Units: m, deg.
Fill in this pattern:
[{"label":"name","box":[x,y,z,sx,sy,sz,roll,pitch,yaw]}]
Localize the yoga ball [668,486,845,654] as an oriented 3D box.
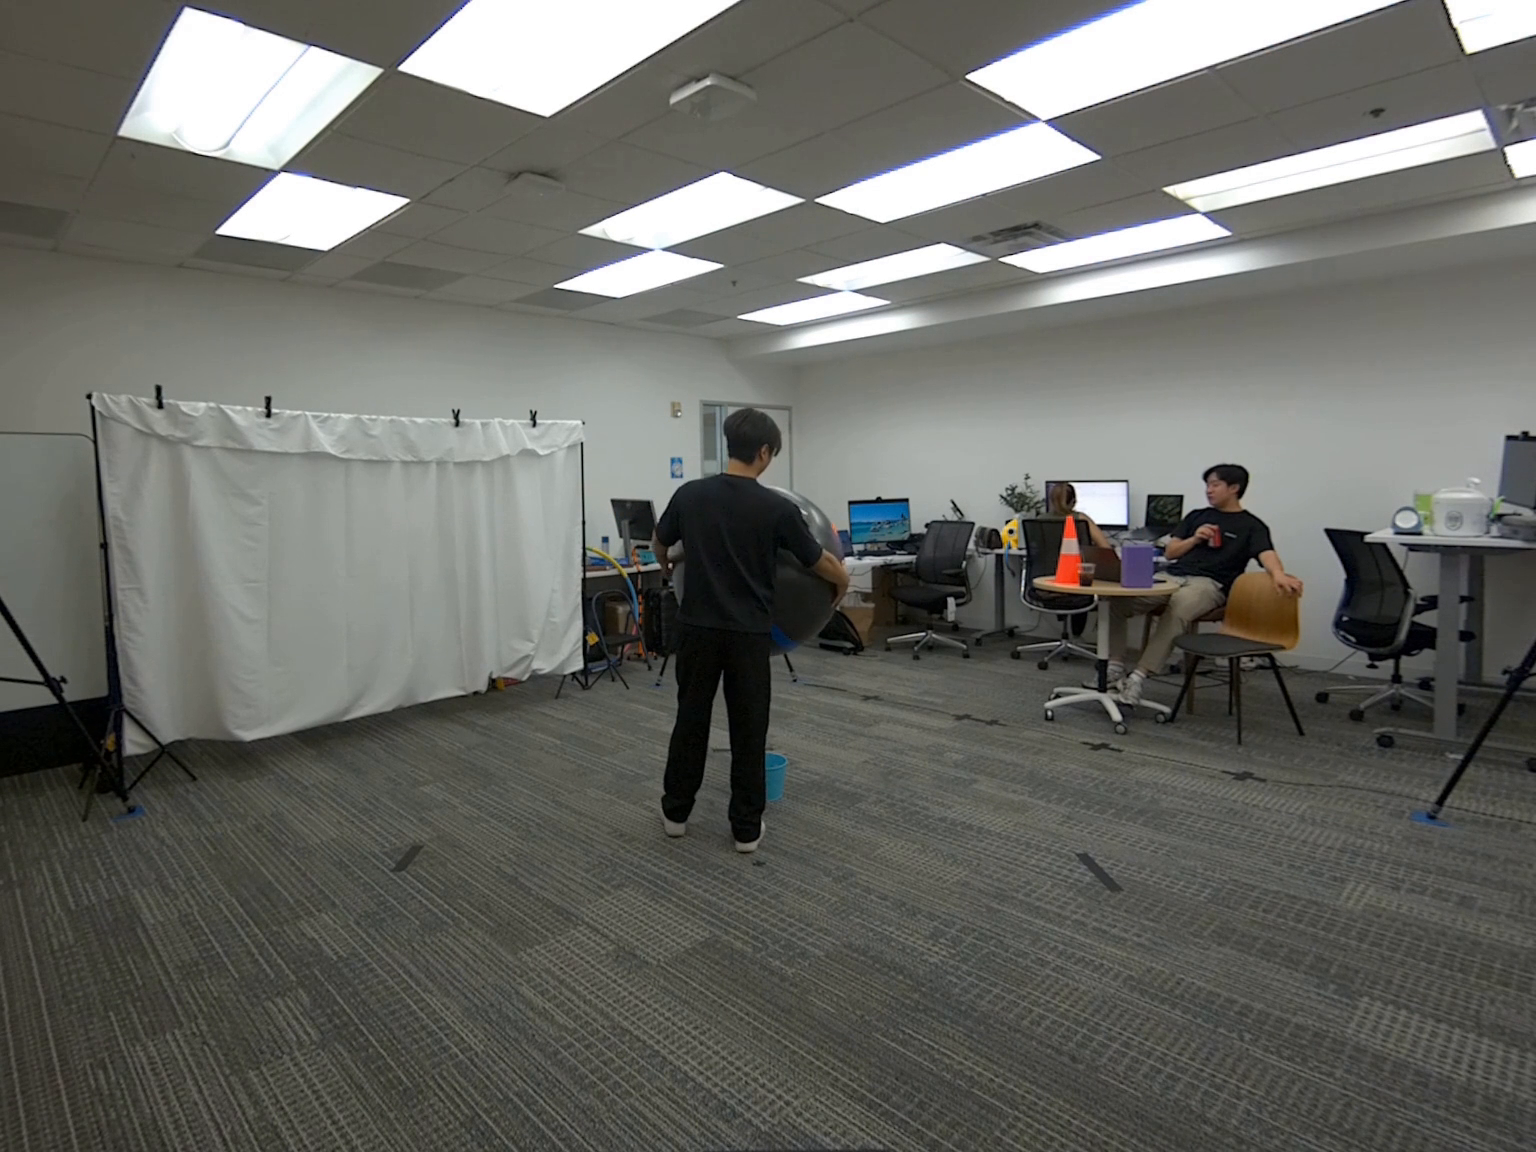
[{"label":"yoga ball","box":[-0.043,-0.021,3.758,0.757,0.755,0.762,-1,5,-2]}]
